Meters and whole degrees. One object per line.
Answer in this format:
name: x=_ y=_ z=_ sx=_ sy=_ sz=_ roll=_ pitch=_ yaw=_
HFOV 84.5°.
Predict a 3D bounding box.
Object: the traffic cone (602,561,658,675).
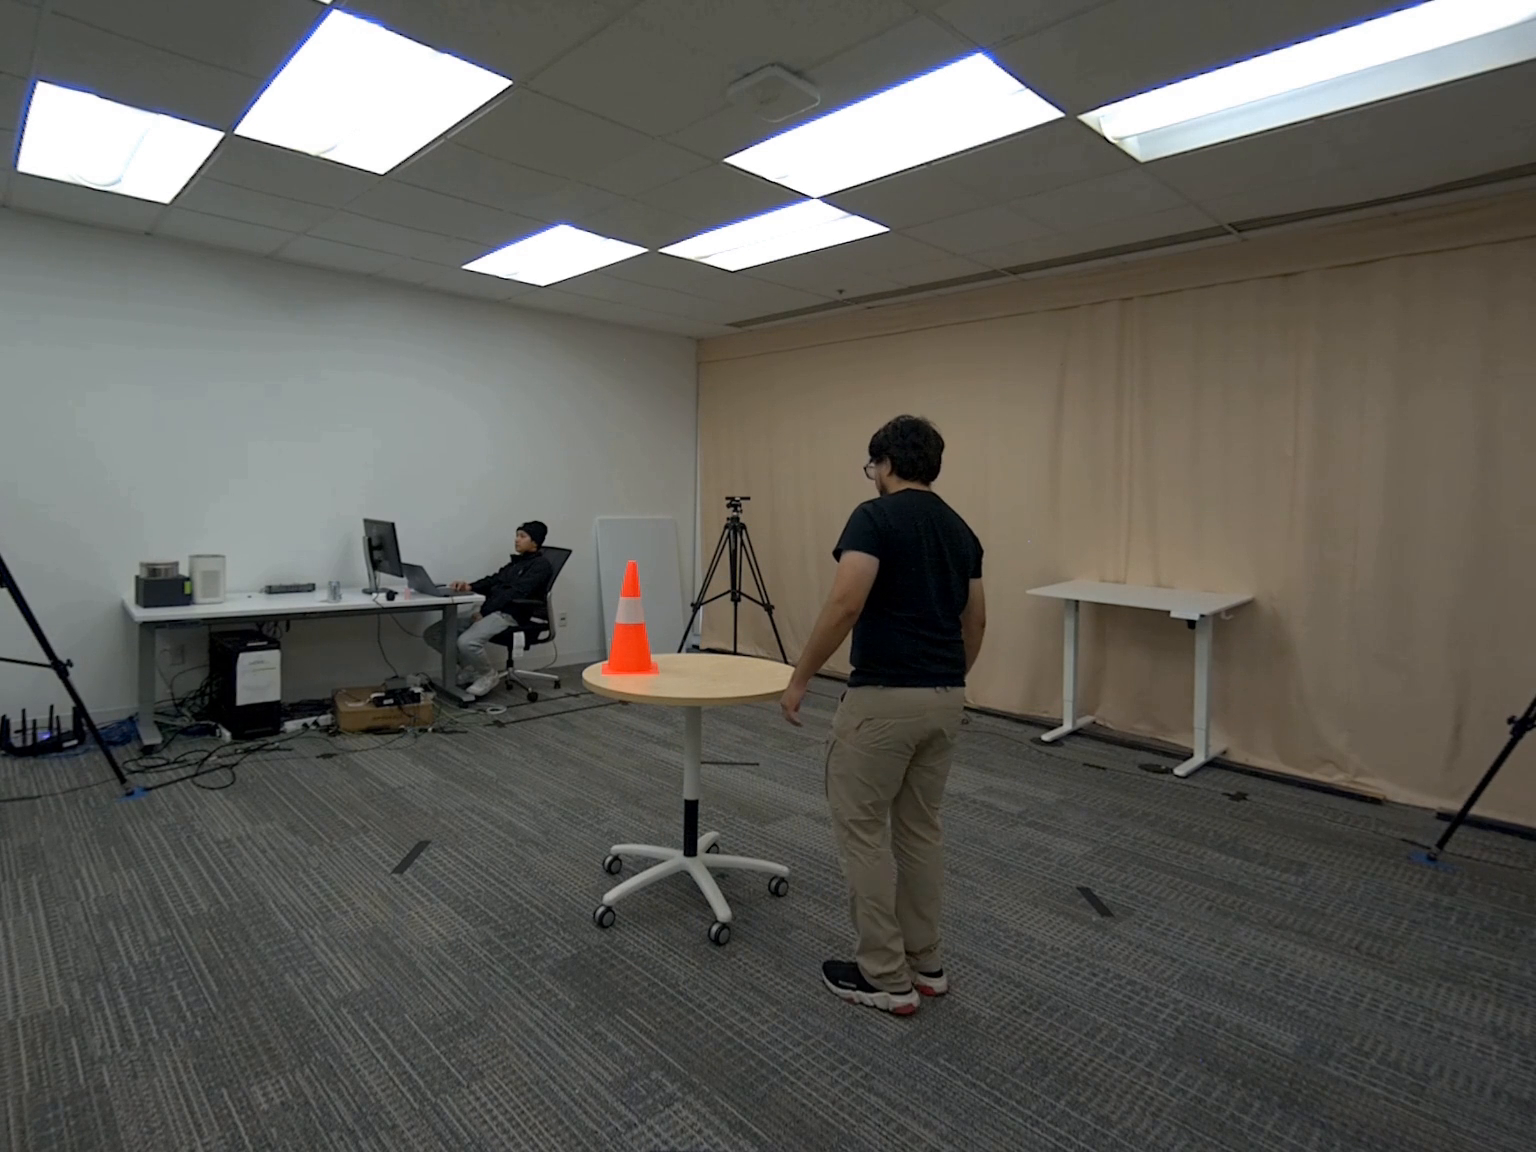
traffic cone: x=-0.488 y=0.144 z=2.948 sx=0.201 sy=0.382 sz=0.208 roll=1 pitch=5 yaw=-25
